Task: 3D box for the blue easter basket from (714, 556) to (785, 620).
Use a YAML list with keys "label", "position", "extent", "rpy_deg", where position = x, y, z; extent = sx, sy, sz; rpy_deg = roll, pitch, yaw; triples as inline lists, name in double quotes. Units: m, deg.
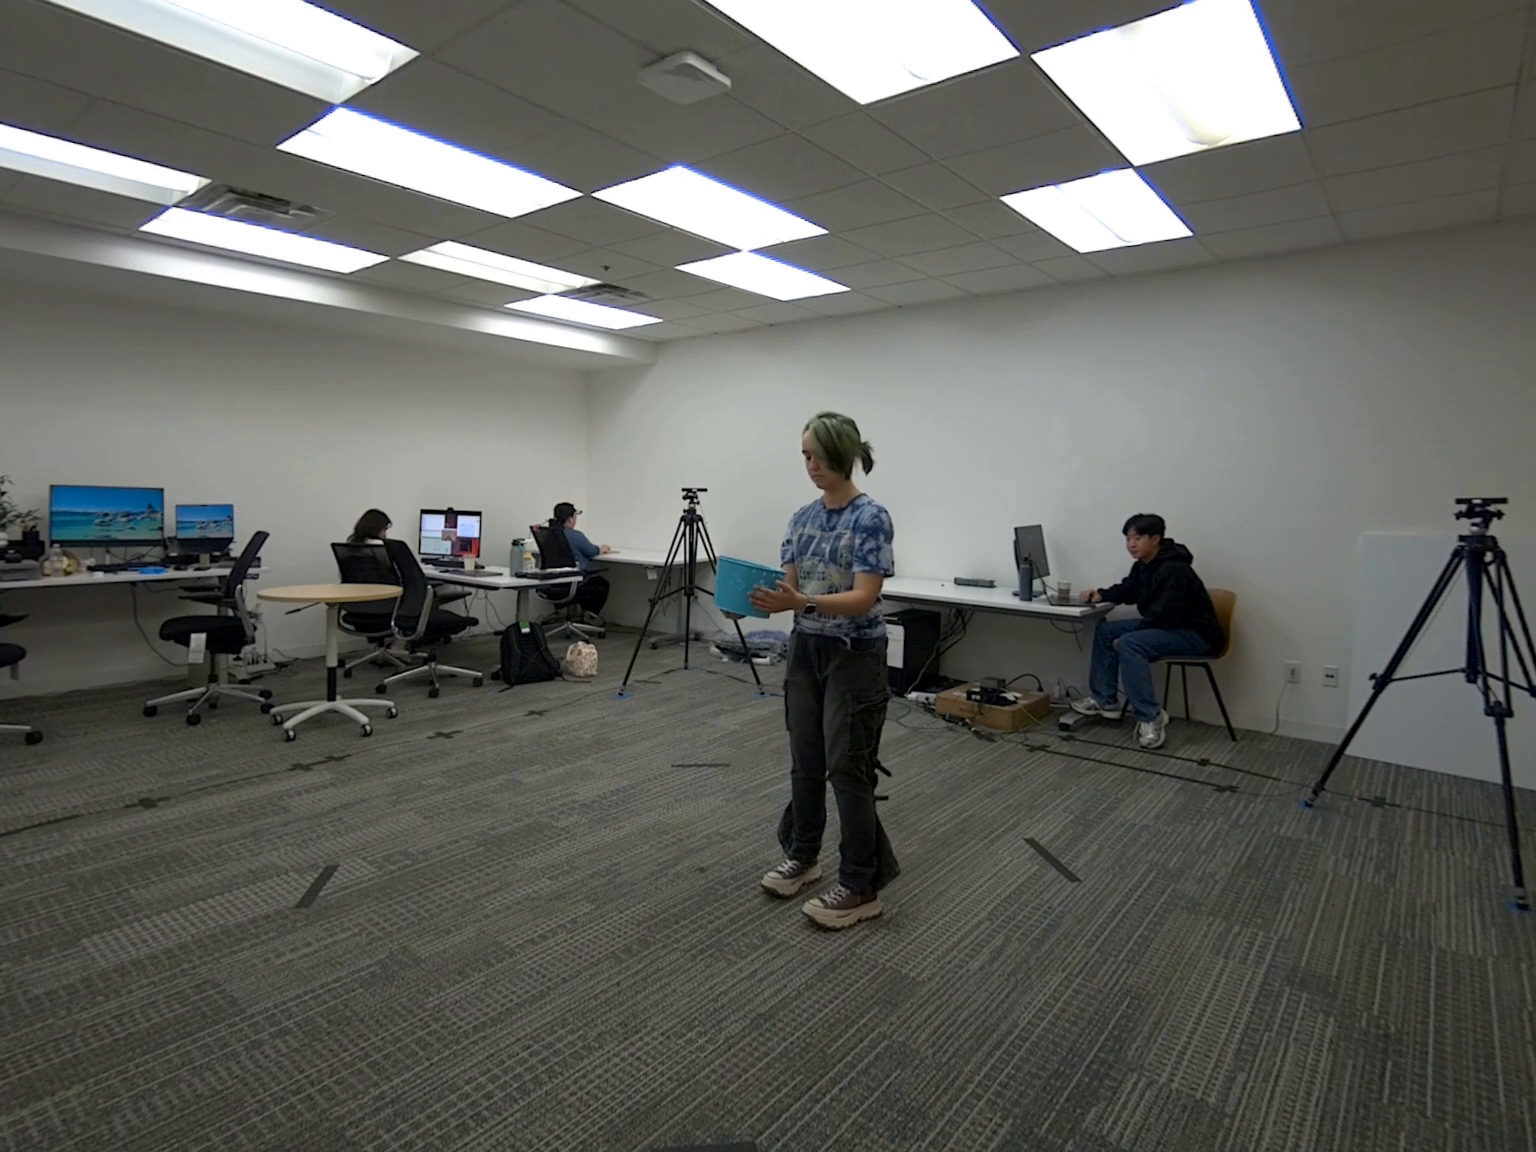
- label: "blue easter basket"
  position: [-0.064, 0.037, 2.655]
  extent: [0.243, 0.155, 0.245]
  rpy_deg: [12, 6, -3]
